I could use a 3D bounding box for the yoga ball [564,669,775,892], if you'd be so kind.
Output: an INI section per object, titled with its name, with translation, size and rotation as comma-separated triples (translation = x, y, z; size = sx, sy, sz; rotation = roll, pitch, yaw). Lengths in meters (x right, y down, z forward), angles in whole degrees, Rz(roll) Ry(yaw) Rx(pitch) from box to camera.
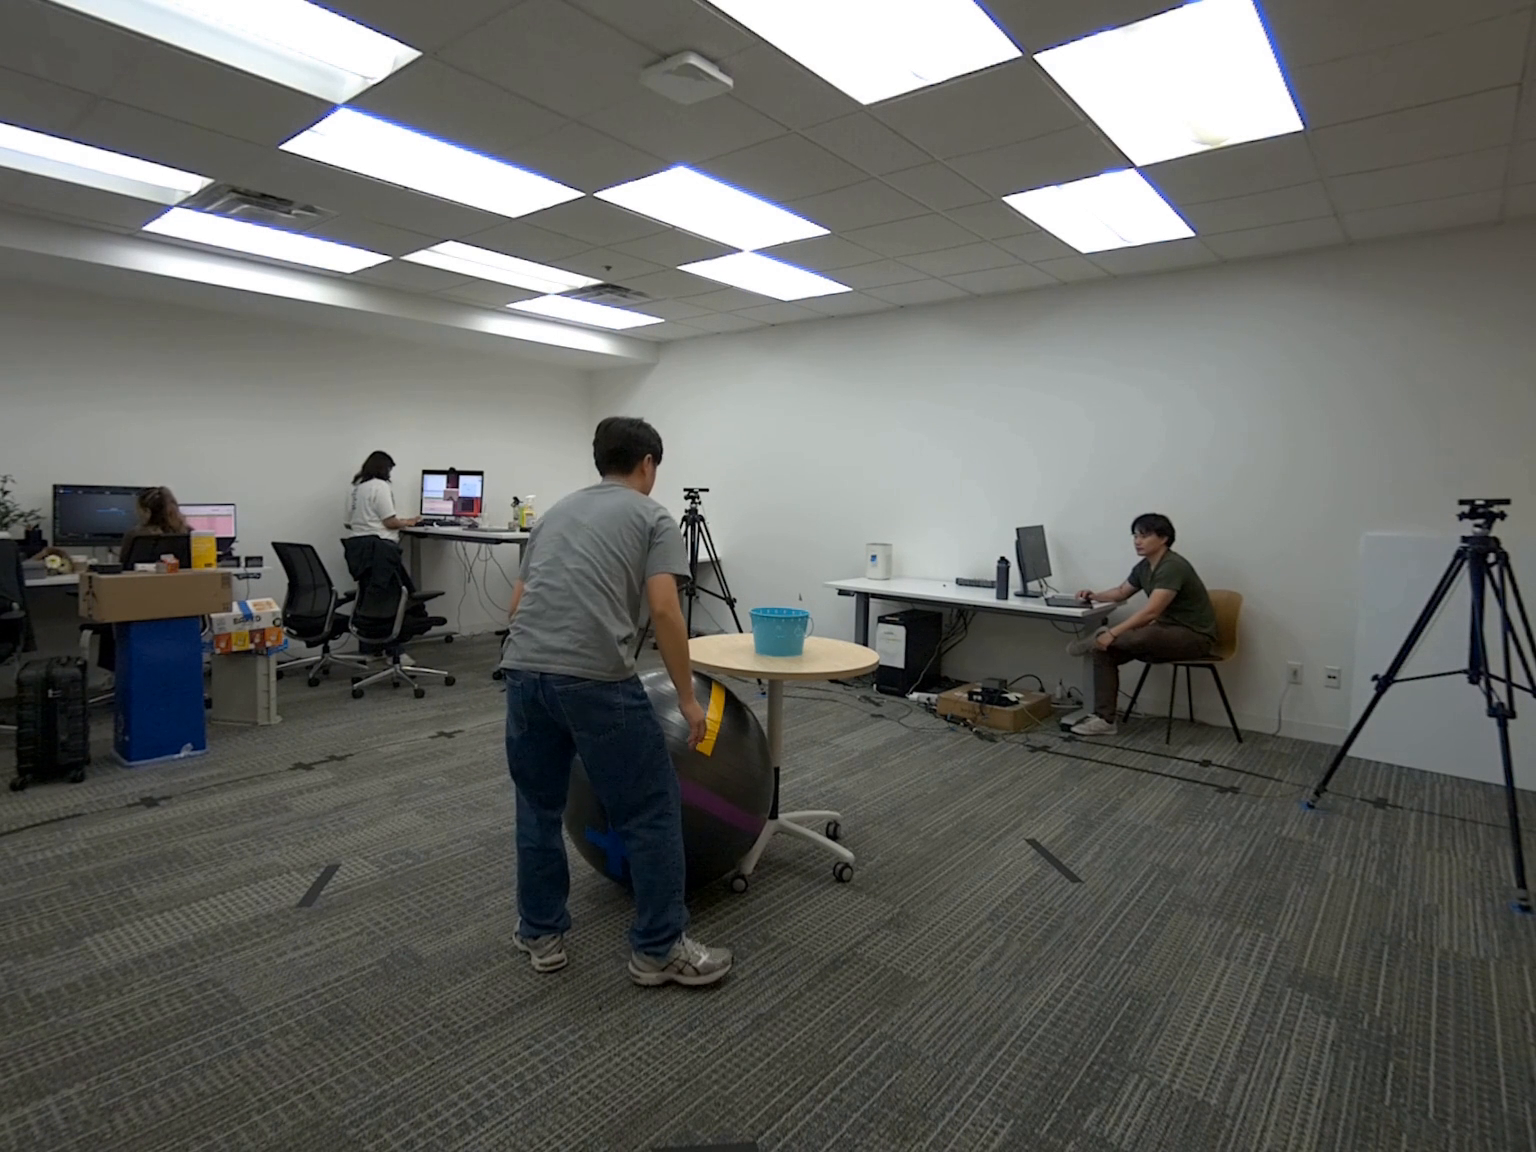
[yoga ball]
translation = -0.385, 0.708, 2.981
size = 0.757, 0.755, 0.762
rotation = 1, 4, -2
